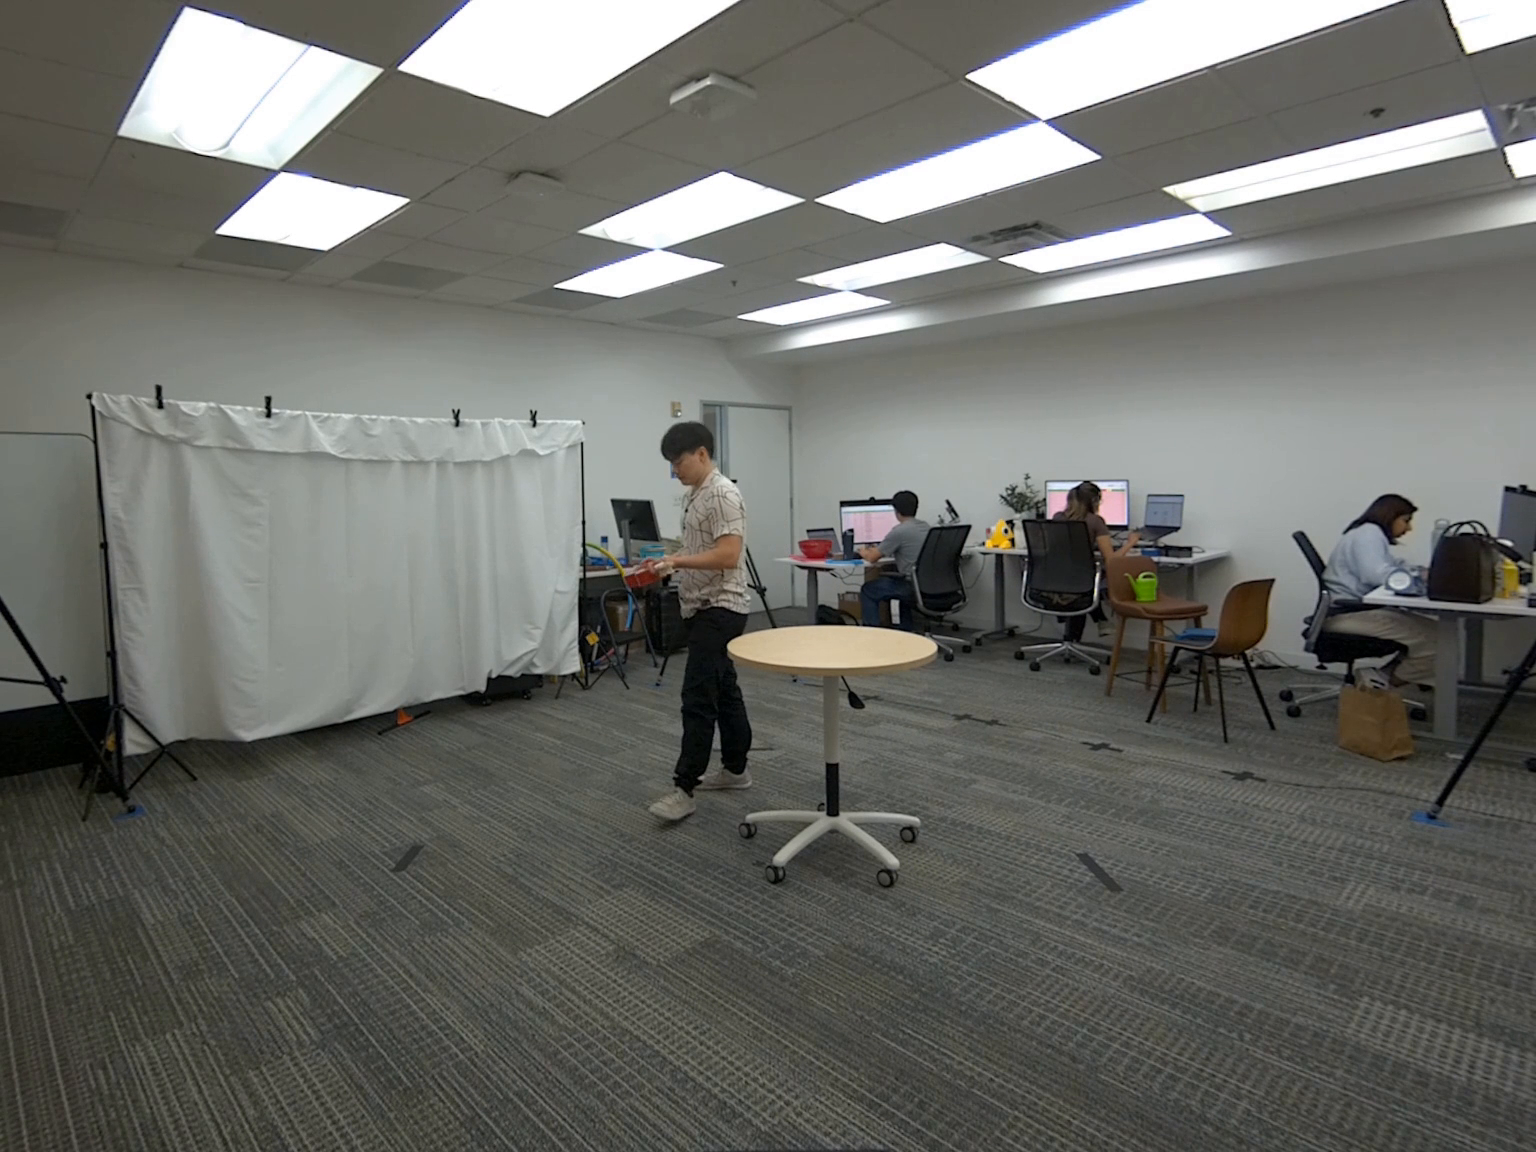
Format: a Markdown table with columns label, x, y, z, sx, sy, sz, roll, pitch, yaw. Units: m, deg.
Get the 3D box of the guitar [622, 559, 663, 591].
| label | x | y | z | sx | sy | sz | roll | pitch | yaw |
| --- | --- | --- | --- | --- | --- | --- | --- | --- | --- |
| guitar | -0.501 | -0.003 | 3.572 | 0.192 | 0.070 | 0.504 | -25 | 8 | -9 |
